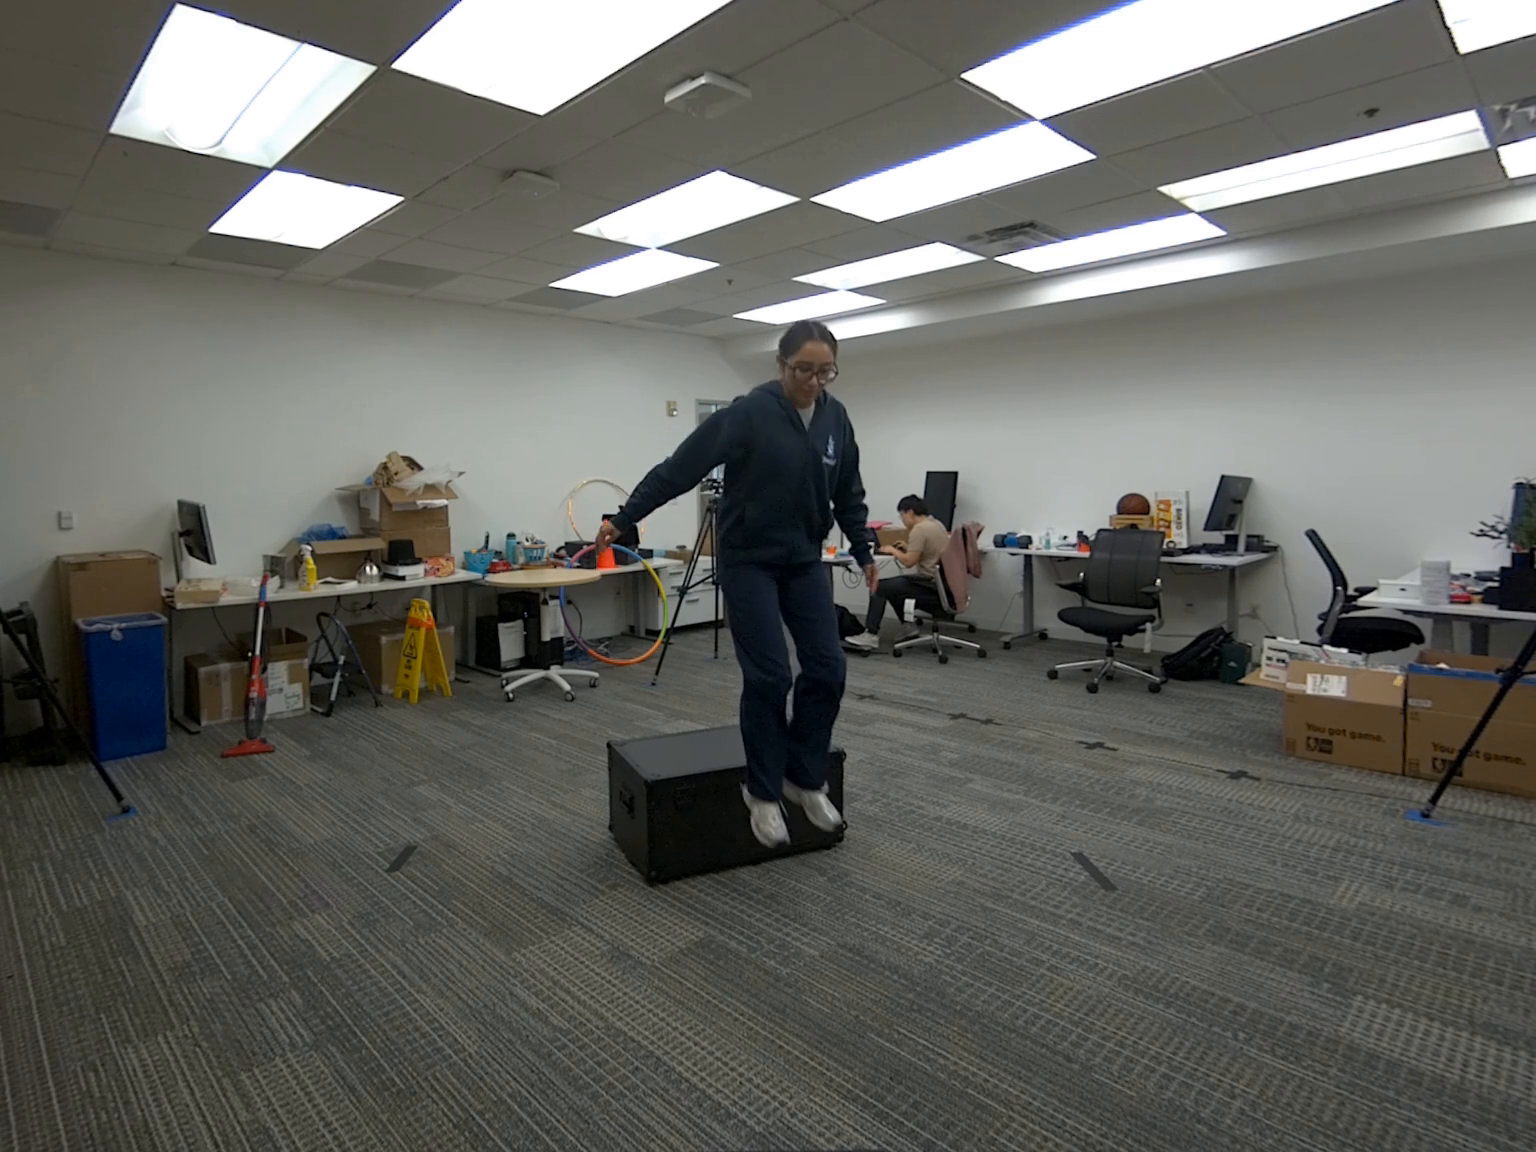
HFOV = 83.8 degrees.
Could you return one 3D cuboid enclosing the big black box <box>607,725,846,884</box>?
[{"bbox_3d":[-0.147,0.849,3.311,0.843,0.518,0.407,-4,7,-27],"label":"big black box"}]
